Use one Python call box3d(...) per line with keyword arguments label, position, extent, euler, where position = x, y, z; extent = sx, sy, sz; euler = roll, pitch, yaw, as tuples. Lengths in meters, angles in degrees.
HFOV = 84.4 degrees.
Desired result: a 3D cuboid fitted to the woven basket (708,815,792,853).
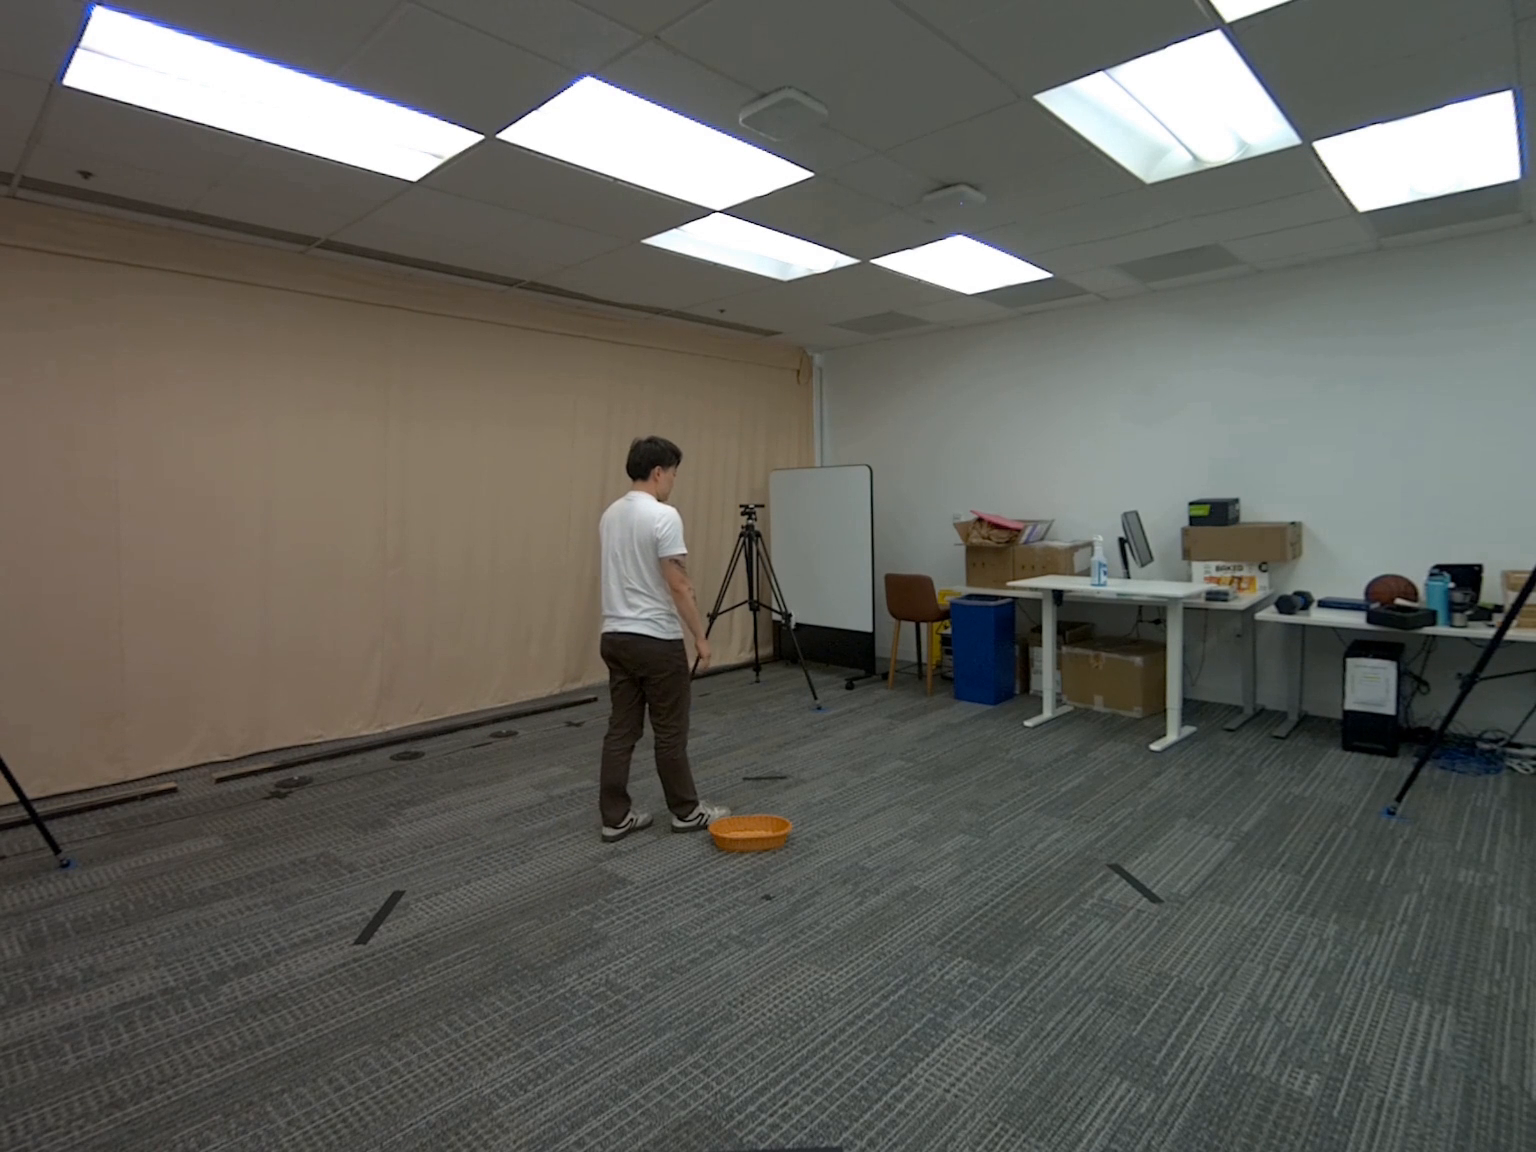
box3d(label="woven basket", position=(-0.073, 1.059, 3.470), extent=(0.349, 0.073, 0.254), euler=(-2, 4, -5))
